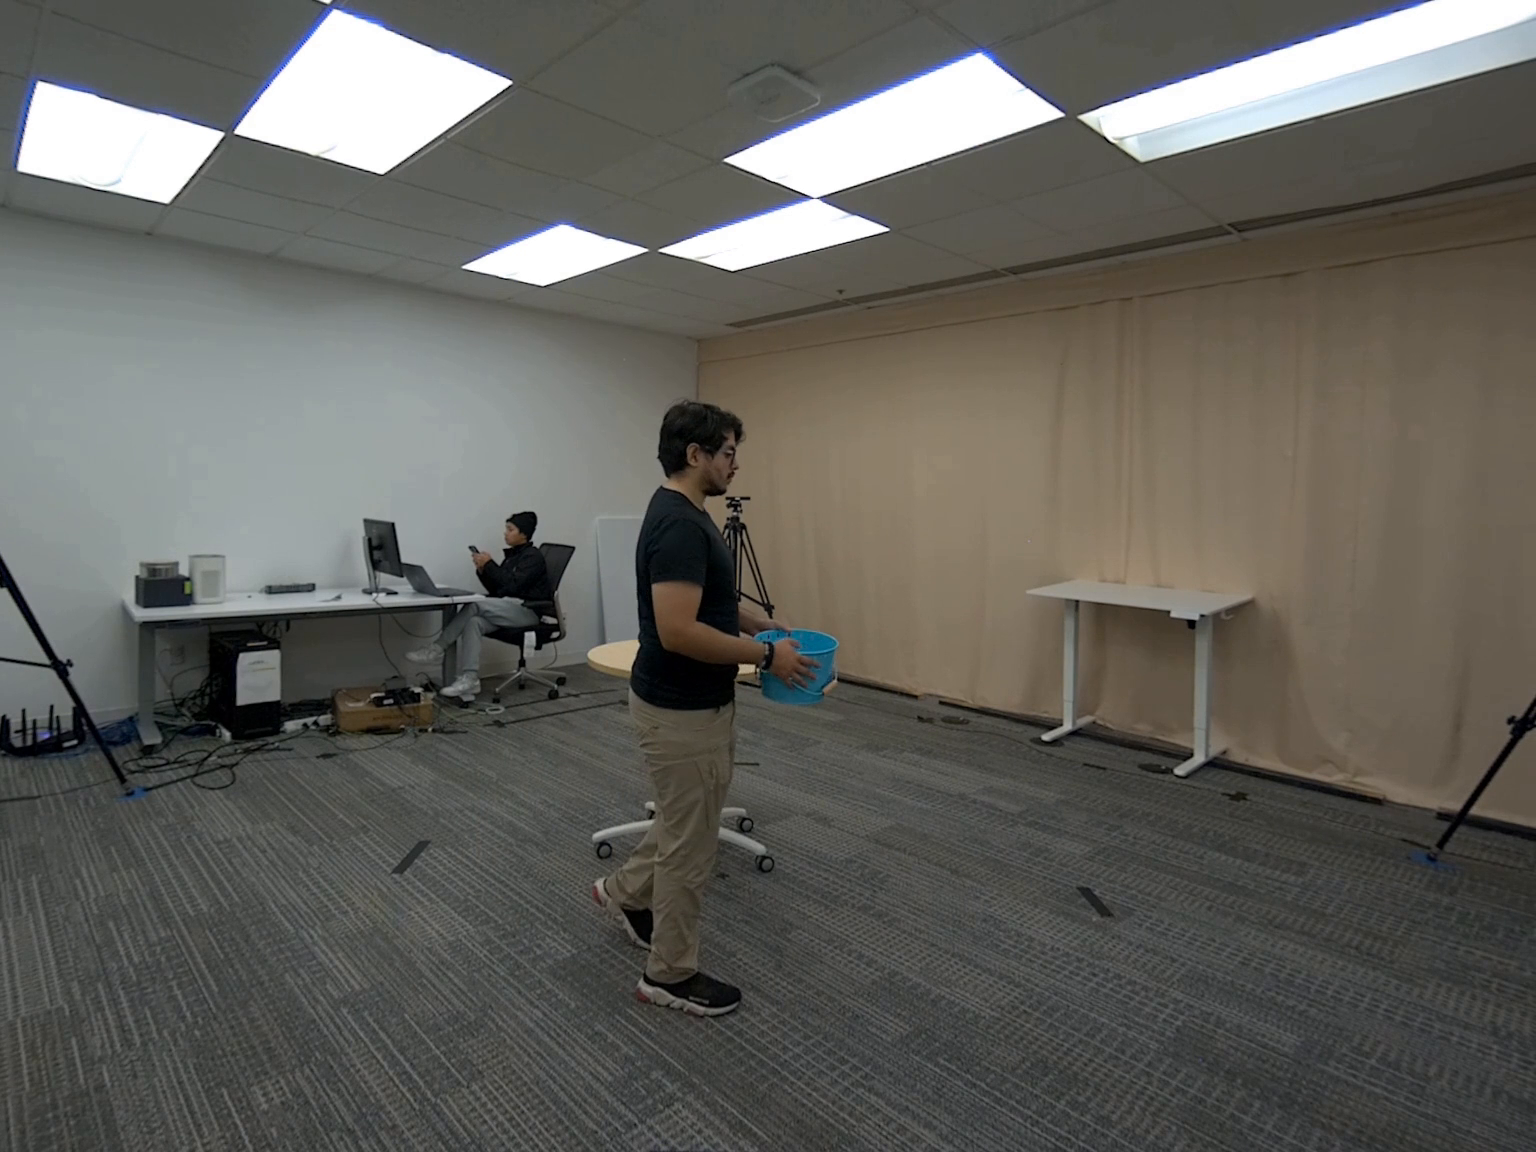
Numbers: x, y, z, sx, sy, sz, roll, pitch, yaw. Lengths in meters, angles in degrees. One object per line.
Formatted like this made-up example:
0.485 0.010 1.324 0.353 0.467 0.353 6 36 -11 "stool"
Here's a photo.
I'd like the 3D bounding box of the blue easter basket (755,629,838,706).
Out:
0.064 0.264 2.298 0.243 0.155 0.245 -1 11 -1 "blue easter basket"
